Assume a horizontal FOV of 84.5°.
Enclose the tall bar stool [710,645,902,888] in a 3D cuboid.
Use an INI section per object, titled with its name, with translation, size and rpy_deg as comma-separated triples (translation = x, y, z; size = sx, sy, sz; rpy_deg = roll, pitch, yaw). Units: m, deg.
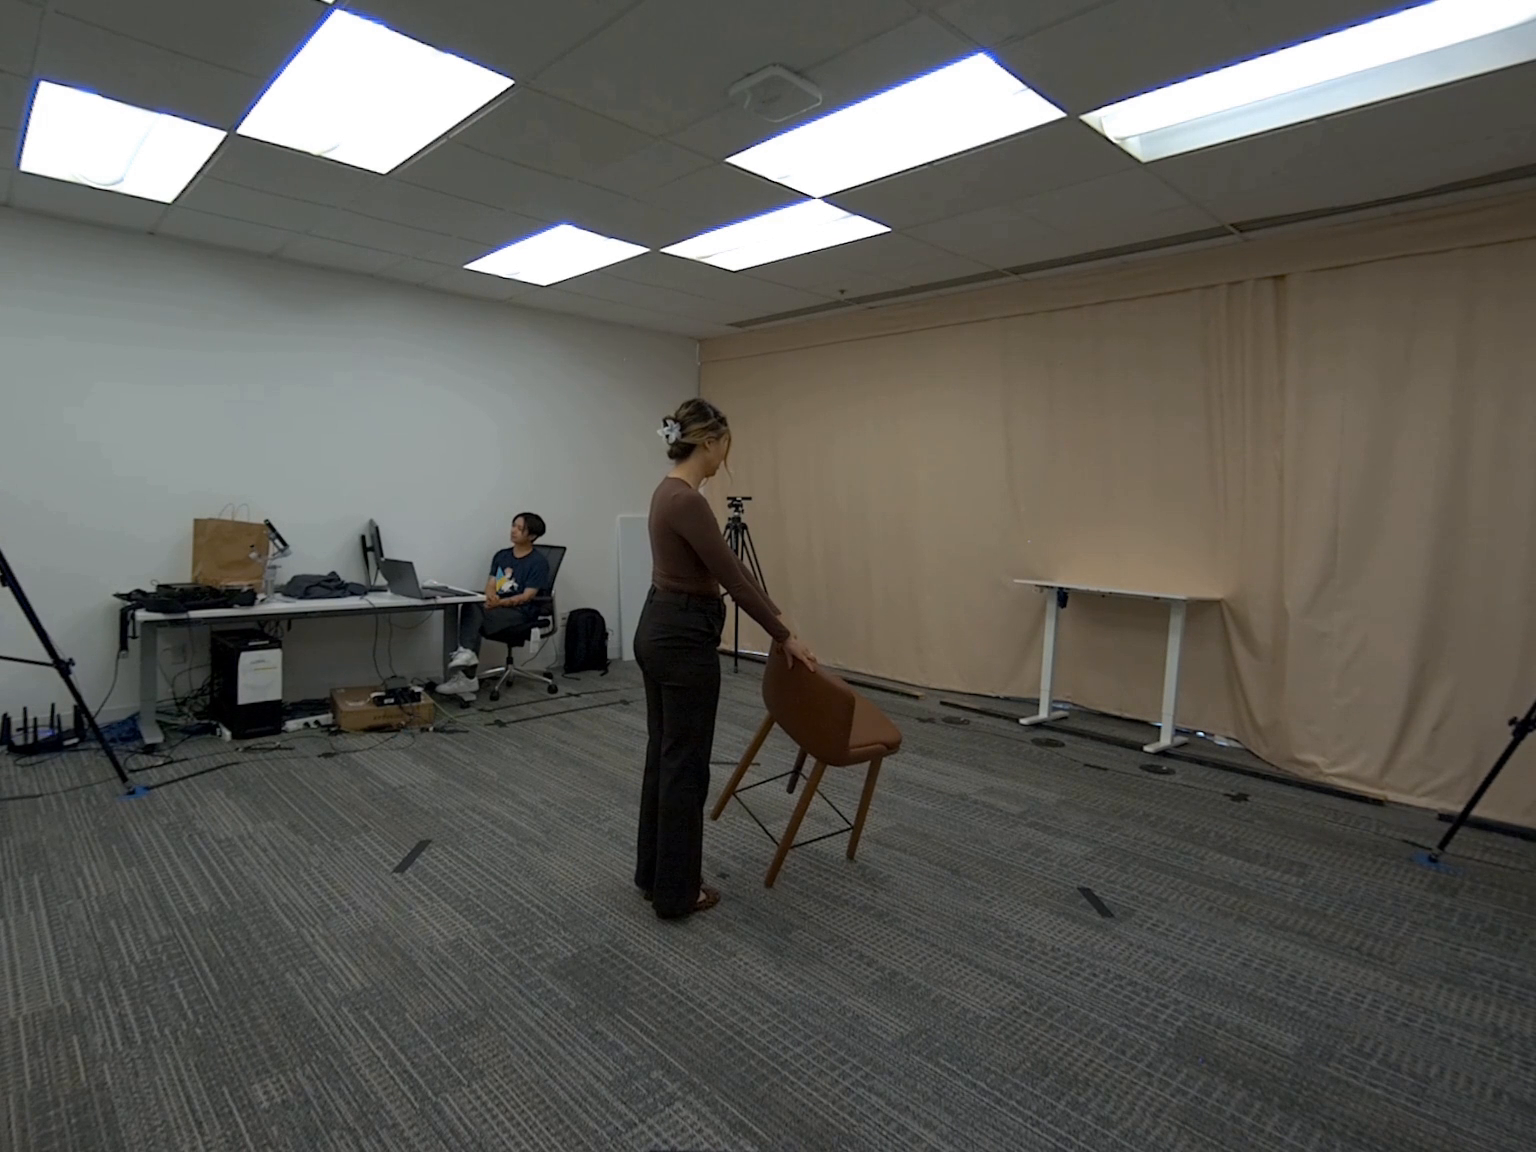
[tall bar stool]
translation = 0.165, 0.638, 3.108
size = 0.457, 0.880, 0.471
rpy_deg = -5, 32, -41
